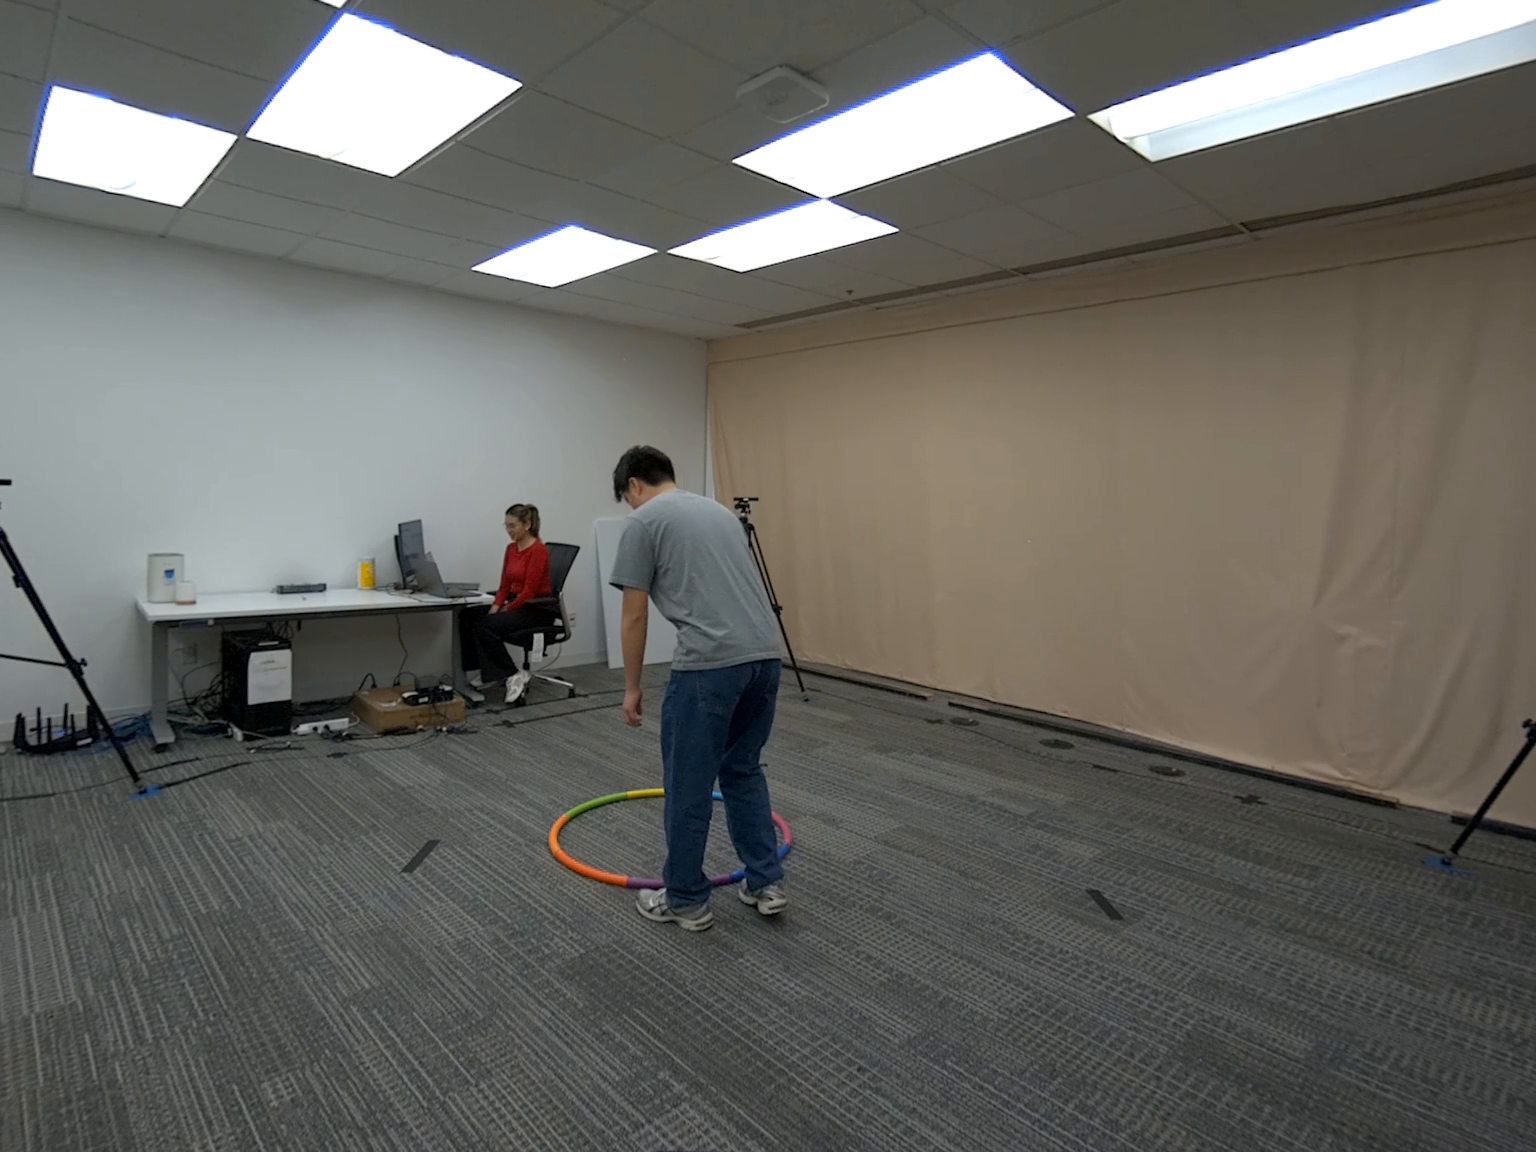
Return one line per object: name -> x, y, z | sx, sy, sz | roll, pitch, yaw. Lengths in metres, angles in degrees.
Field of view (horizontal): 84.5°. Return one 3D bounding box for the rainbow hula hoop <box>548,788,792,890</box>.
rainbow hula hoop -> -0.407, 1.041, 3.463 | 0.978, 0.035, 0.982 | 1, 5, -1
